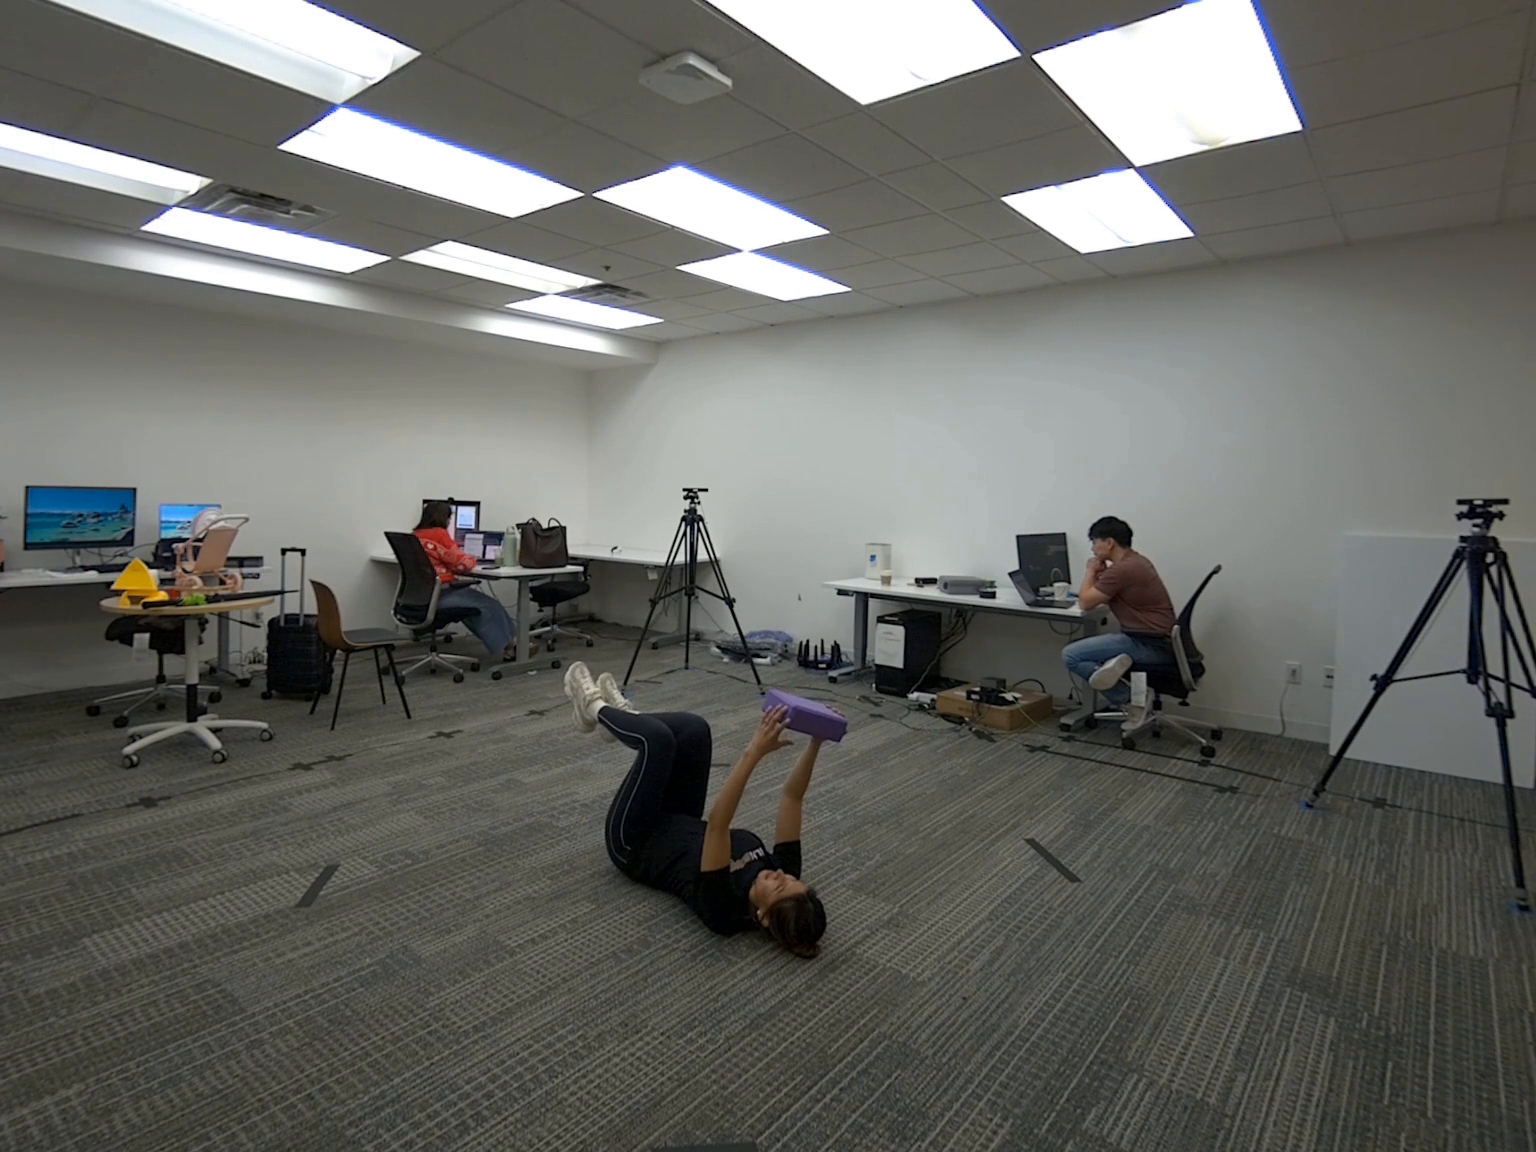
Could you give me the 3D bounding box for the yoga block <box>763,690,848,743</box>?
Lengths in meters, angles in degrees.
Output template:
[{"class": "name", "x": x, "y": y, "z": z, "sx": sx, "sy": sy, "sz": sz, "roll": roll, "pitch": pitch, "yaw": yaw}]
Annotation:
[{"class": "yoga block", "x": 0.105, "y": 0.426, "z": 2.608, "sx": 0.221, "sy": 0.076, "sz": 0.154, "roll": 21, "pitch": 1, "yaw": -35}]
